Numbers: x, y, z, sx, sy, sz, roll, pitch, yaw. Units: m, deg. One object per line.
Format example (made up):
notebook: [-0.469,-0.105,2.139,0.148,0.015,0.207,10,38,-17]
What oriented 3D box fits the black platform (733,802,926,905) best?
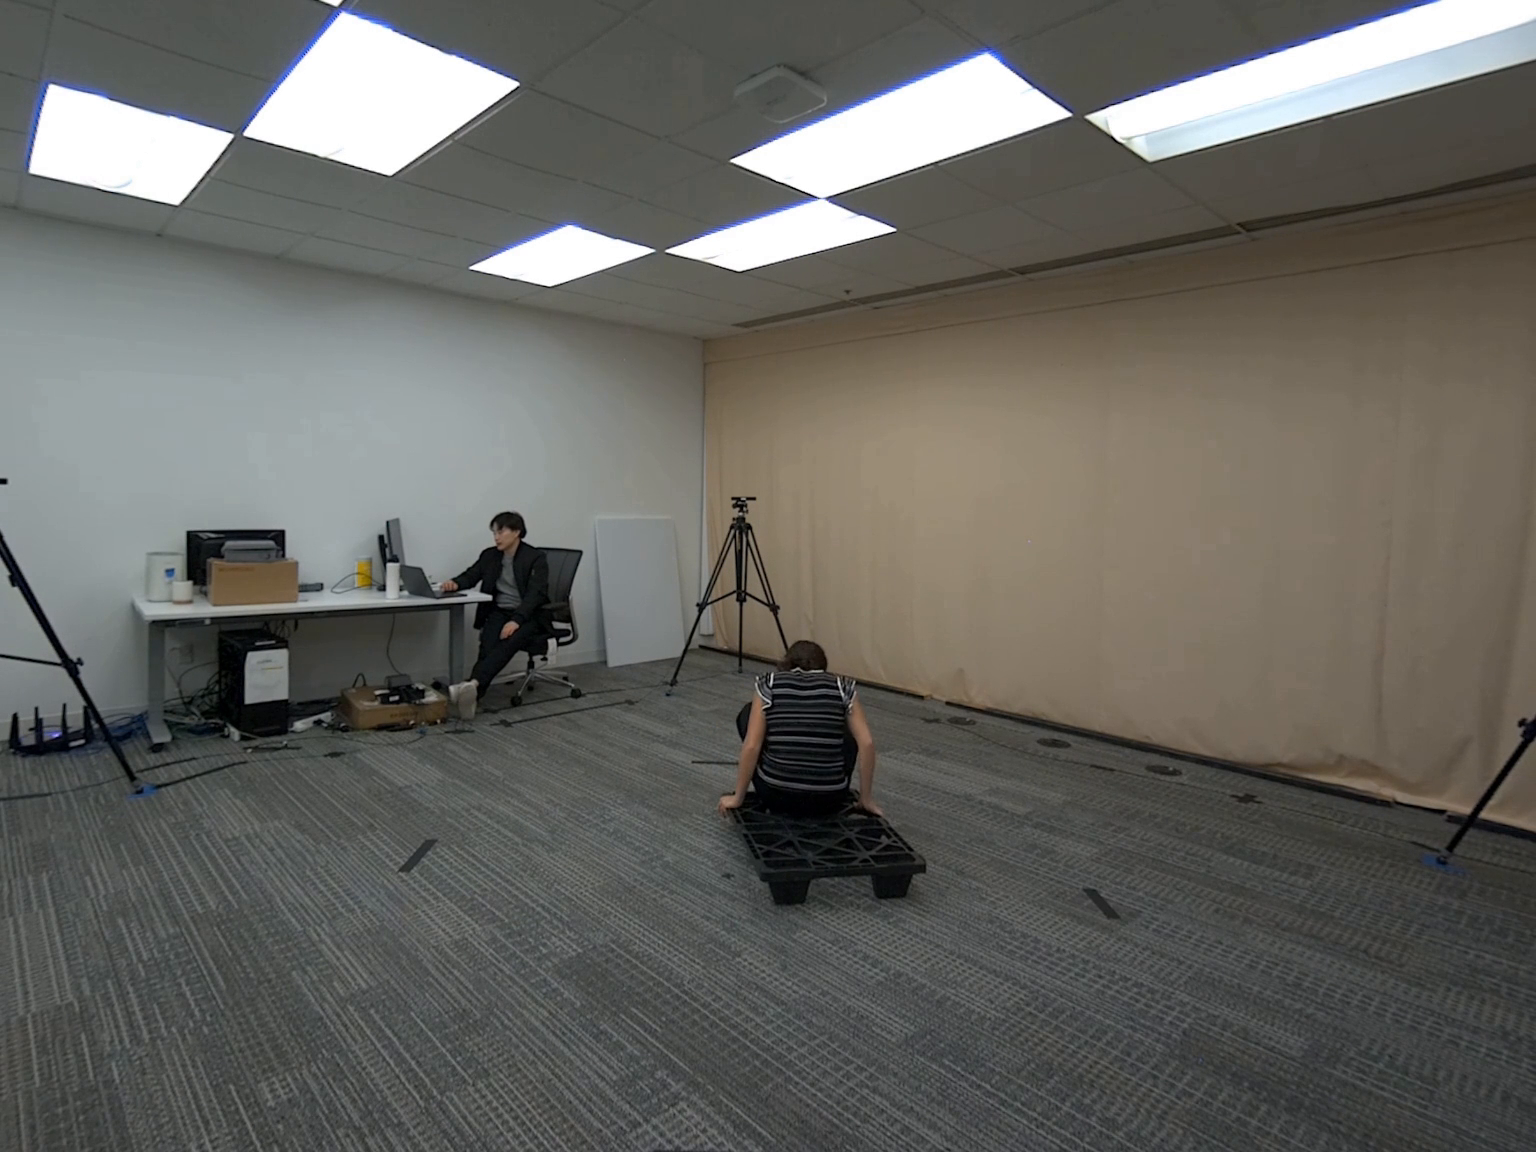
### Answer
black platform: [0.167,1.033,3.275,0.599,0.143,0.815,1,4,-12]
